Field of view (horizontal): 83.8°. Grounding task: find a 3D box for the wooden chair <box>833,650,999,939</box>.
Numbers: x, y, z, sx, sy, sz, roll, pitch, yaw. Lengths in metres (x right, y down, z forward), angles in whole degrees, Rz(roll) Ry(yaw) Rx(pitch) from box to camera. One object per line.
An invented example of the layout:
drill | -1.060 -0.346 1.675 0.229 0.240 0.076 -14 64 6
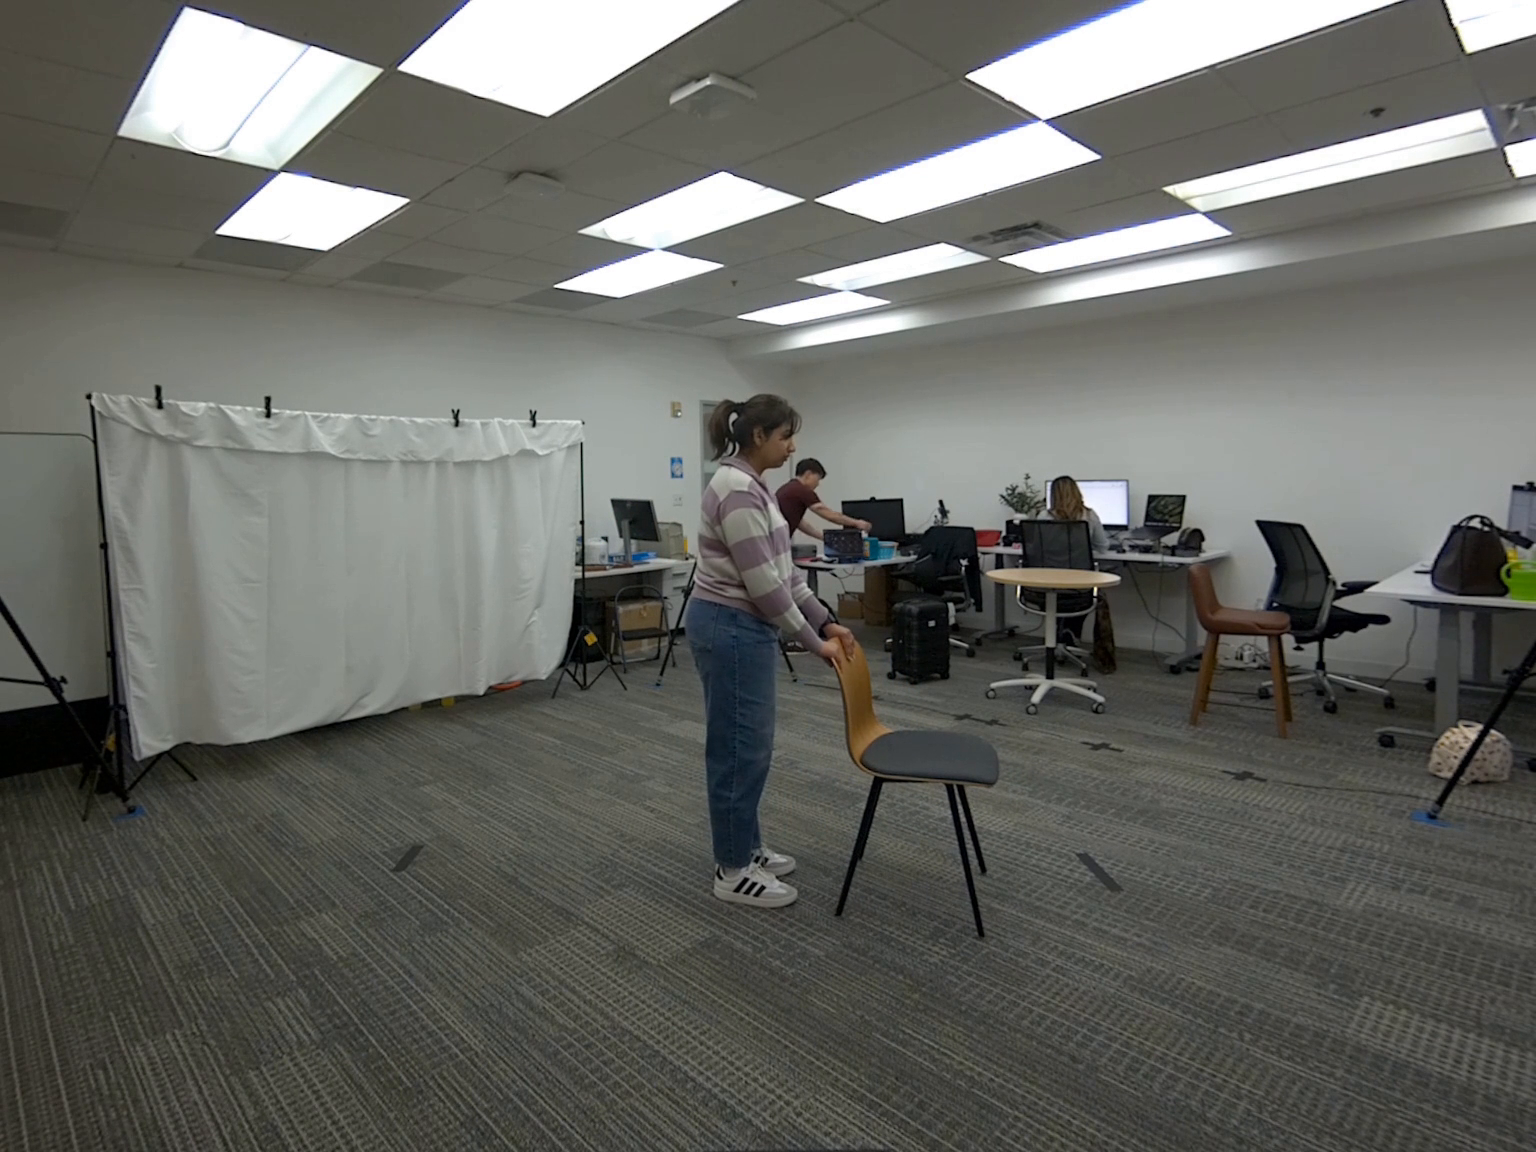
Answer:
wooden chair | 0.491 0.631 2.837 0.531 0.876 0.472 -4 2 17
